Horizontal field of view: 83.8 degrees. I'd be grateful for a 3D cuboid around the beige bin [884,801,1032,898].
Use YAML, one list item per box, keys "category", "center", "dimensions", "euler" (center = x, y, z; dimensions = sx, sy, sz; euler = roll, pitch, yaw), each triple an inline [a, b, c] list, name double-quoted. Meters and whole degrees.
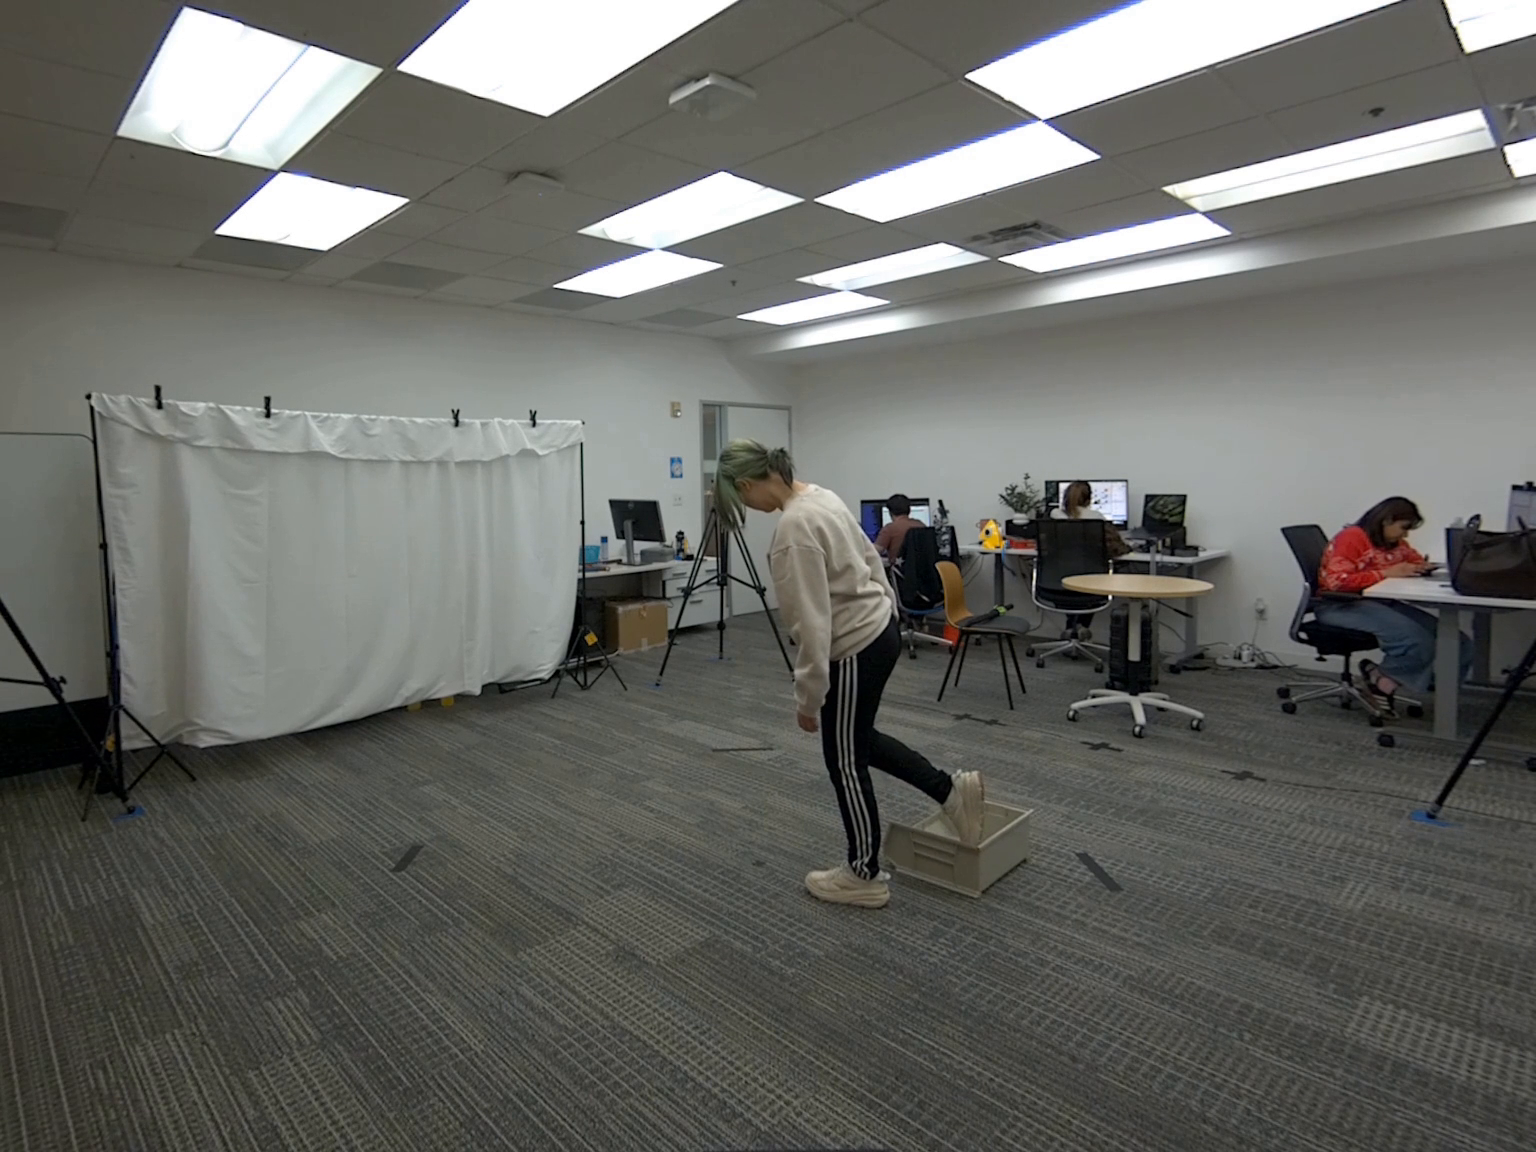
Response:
- category: "beige bin"
  center: [0.690, 0.948, 3.076]
  dimensions: [0.389, 0.188, 0.411]
  euler: [5, 8, 42]
